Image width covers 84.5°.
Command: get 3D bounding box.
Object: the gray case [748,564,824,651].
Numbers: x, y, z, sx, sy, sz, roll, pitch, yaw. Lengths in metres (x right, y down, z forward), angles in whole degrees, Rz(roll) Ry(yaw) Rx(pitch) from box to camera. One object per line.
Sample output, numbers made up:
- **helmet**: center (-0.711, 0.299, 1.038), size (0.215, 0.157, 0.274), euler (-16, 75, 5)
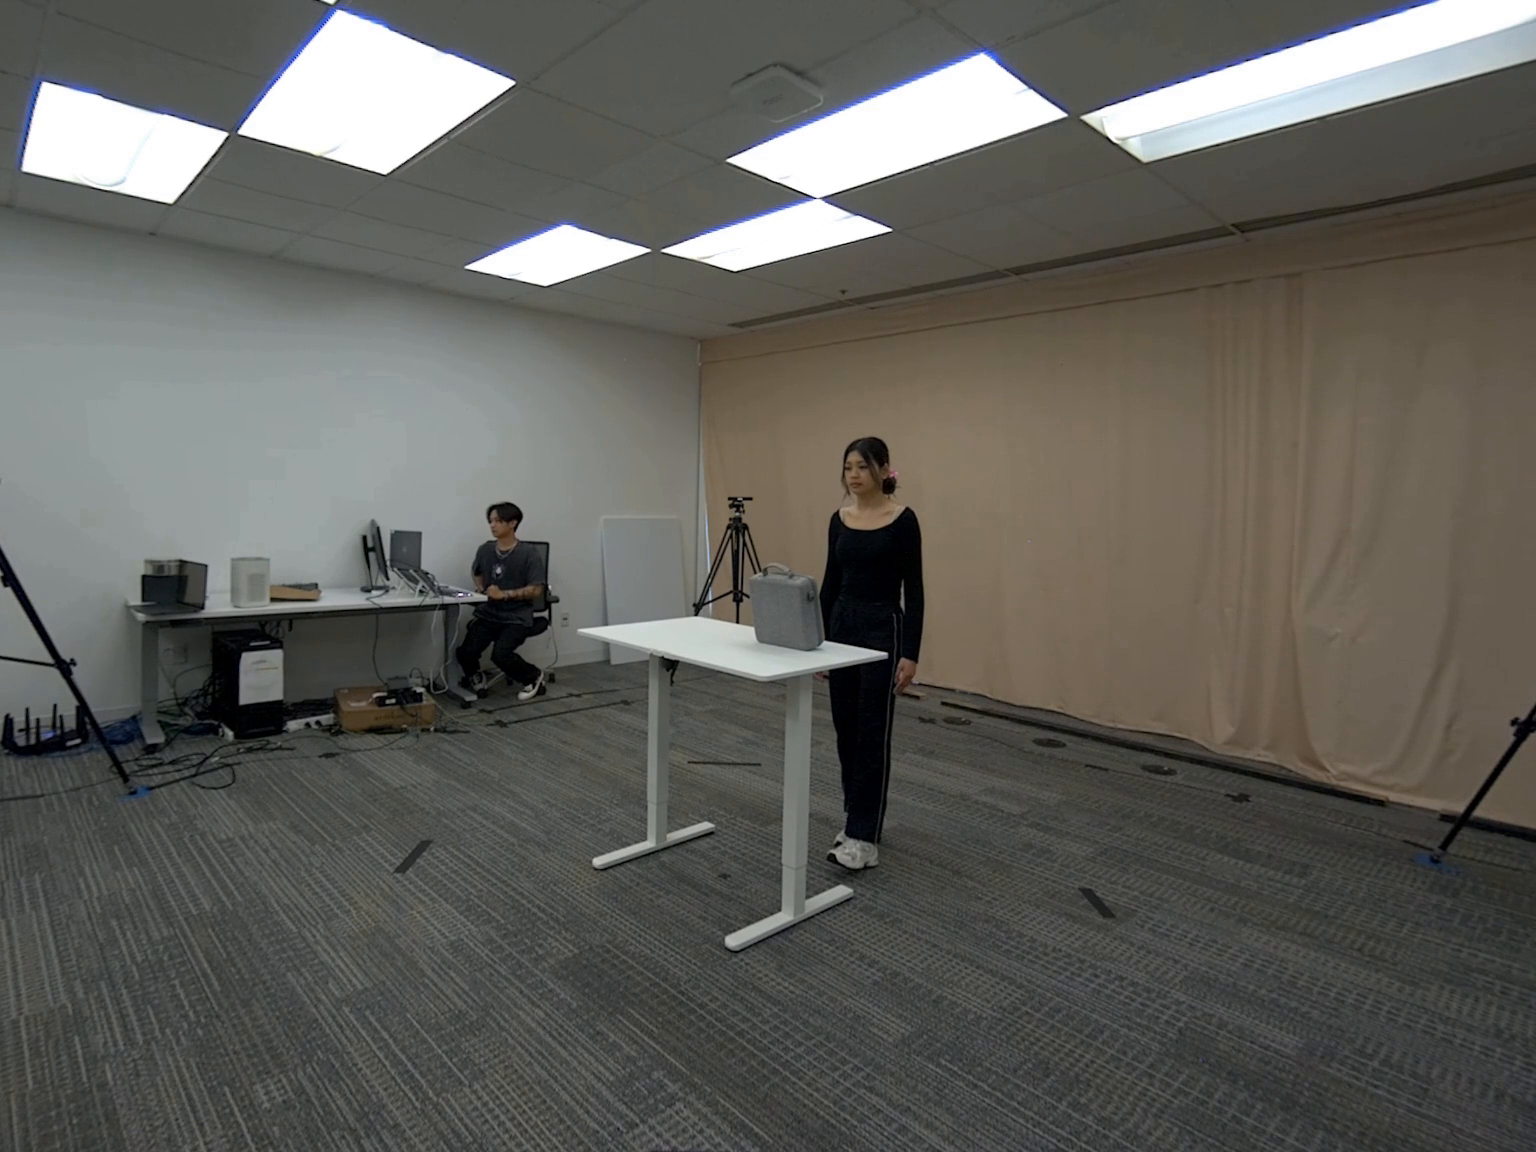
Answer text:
- **gray case**: center (0.056, 0.117, 2.917), size (0.263, 0.258, 0.103), euler (5, 17, 44)
